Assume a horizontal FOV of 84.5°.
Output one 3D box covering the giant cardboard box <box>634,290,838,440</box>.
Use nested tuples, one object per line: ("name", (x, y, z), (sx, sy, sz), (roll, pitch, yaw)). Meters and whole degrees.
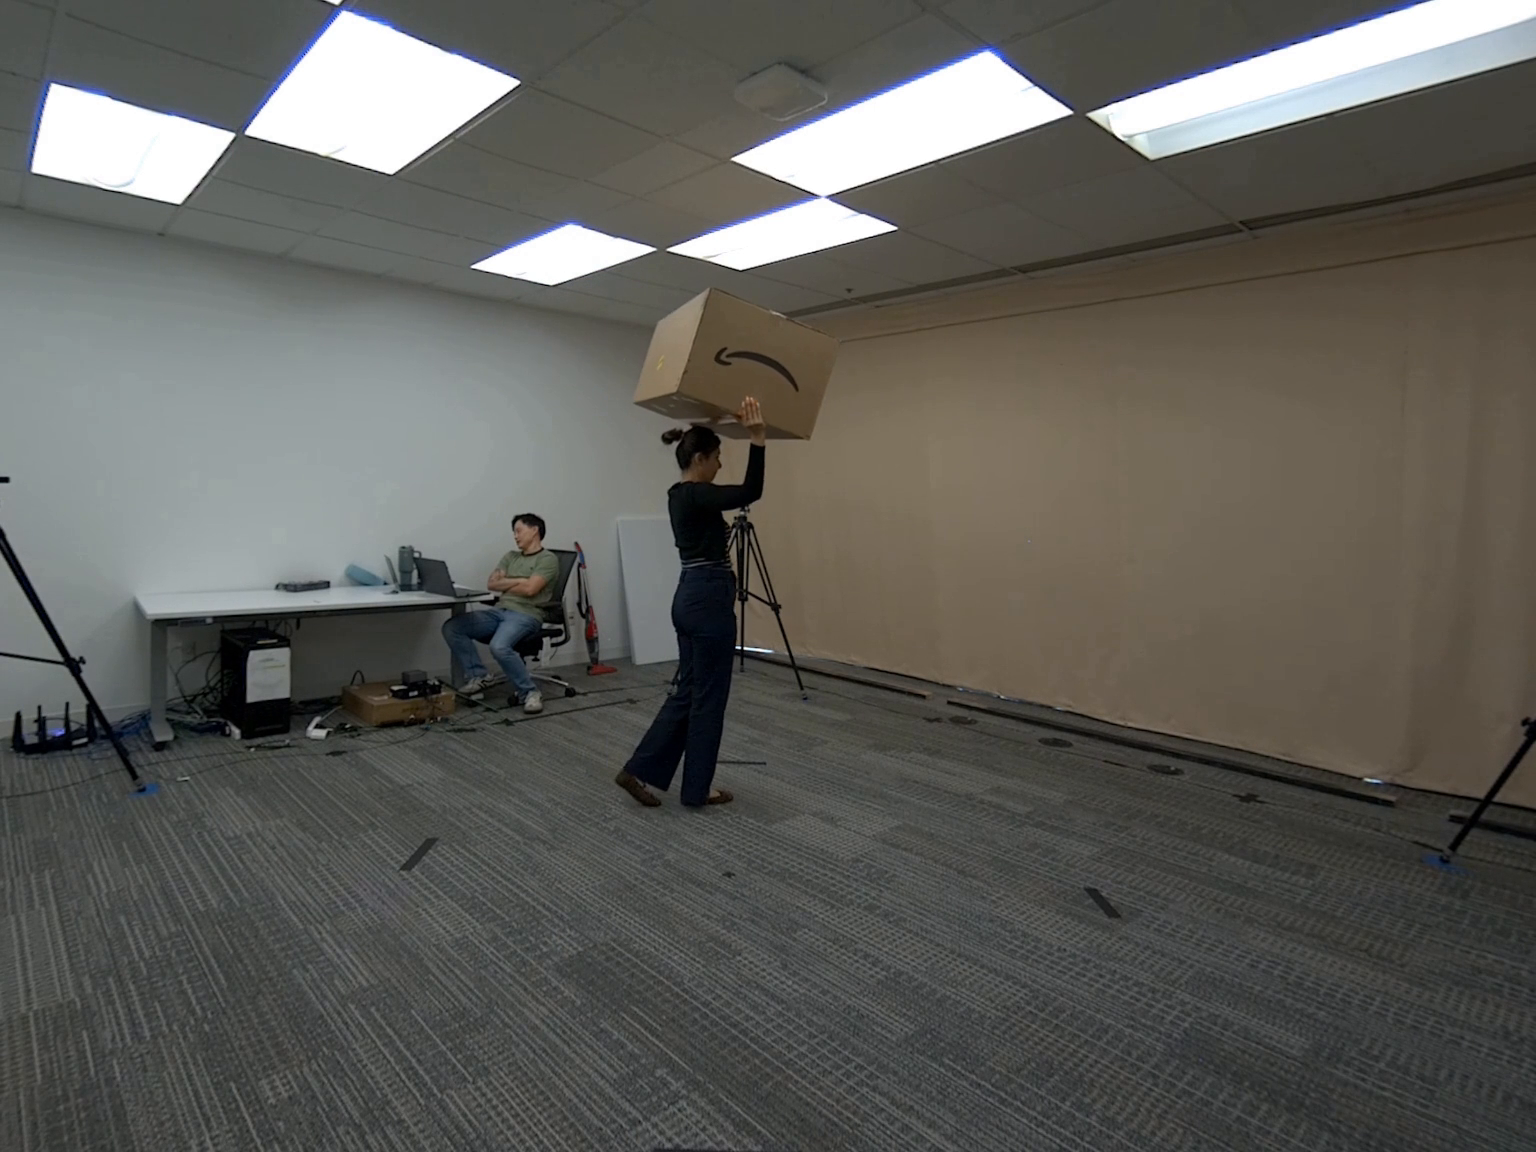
("giant cardboard box", (-0.204, -0.894, 3.774), (0.567, 0.426, 1.045), (17, 3, -20))
